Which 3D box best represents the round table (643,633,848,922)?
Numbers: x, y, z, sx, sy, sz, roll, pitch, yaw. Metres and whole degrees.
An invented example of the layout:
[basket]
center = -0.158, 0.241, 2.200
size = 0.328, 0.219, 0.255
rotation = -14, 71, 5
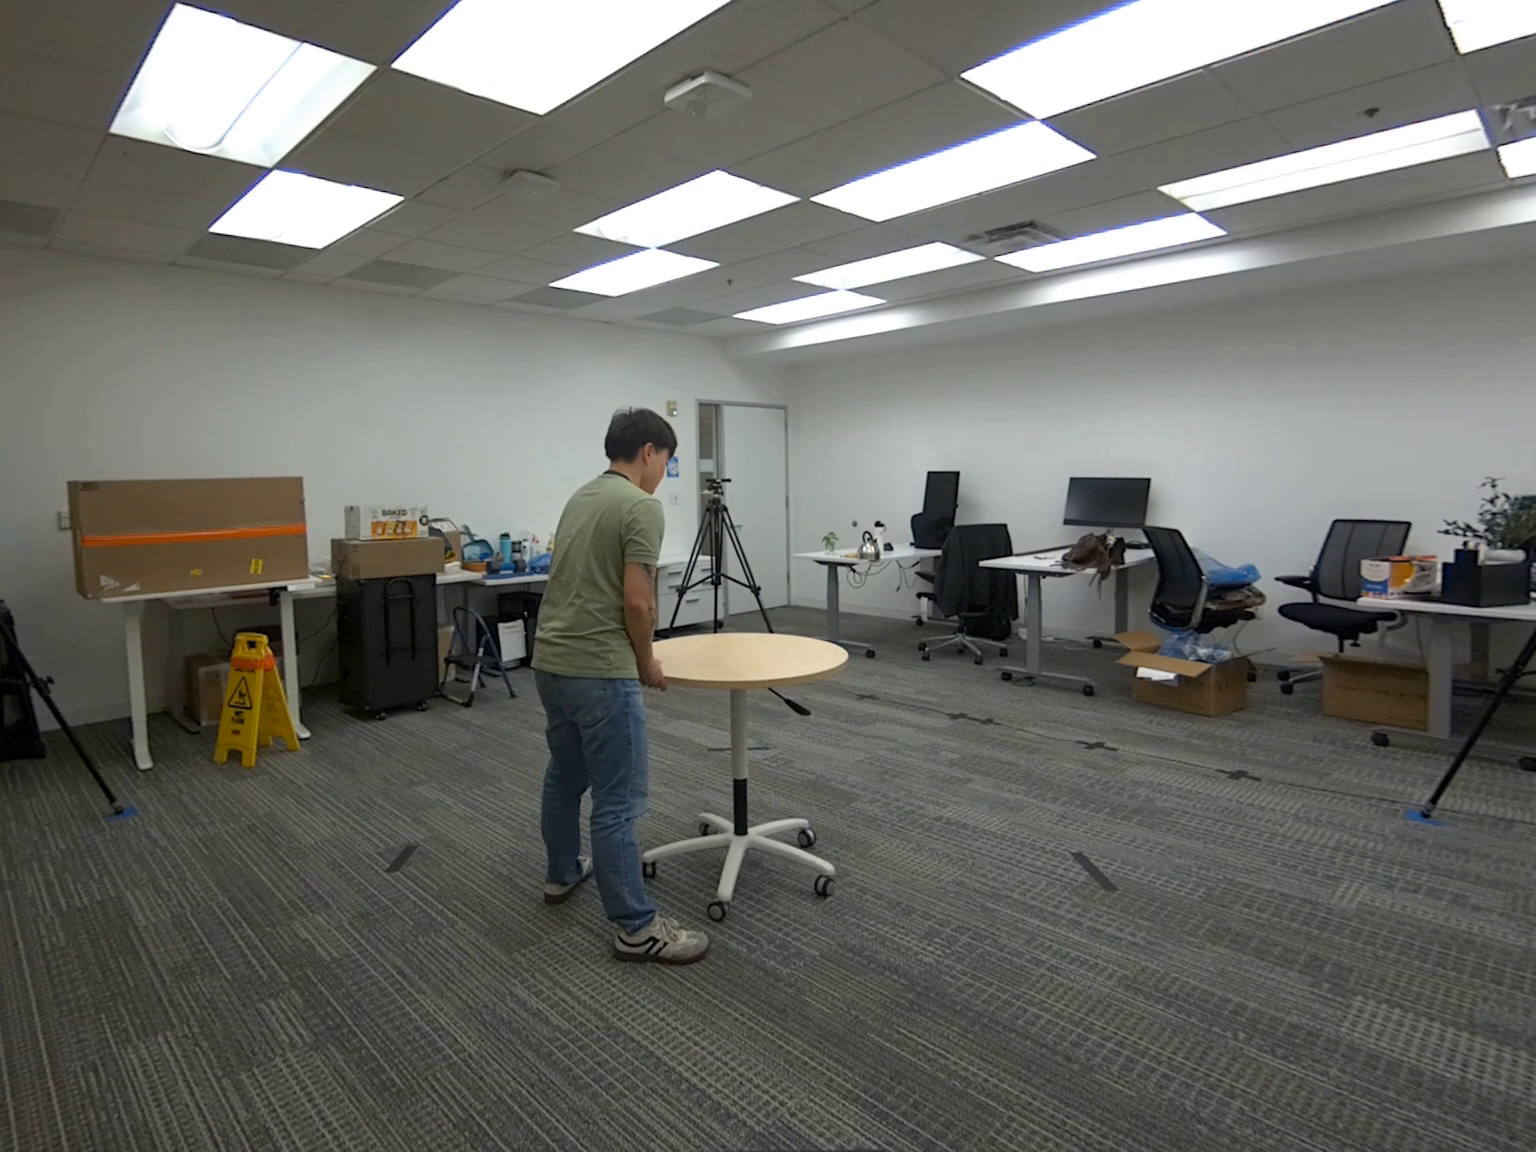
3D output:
[round table]
center = -0.098, 0.665, 3.013
size = 0.763, 0.790, 0.768
rotation = -1, 5, -2
